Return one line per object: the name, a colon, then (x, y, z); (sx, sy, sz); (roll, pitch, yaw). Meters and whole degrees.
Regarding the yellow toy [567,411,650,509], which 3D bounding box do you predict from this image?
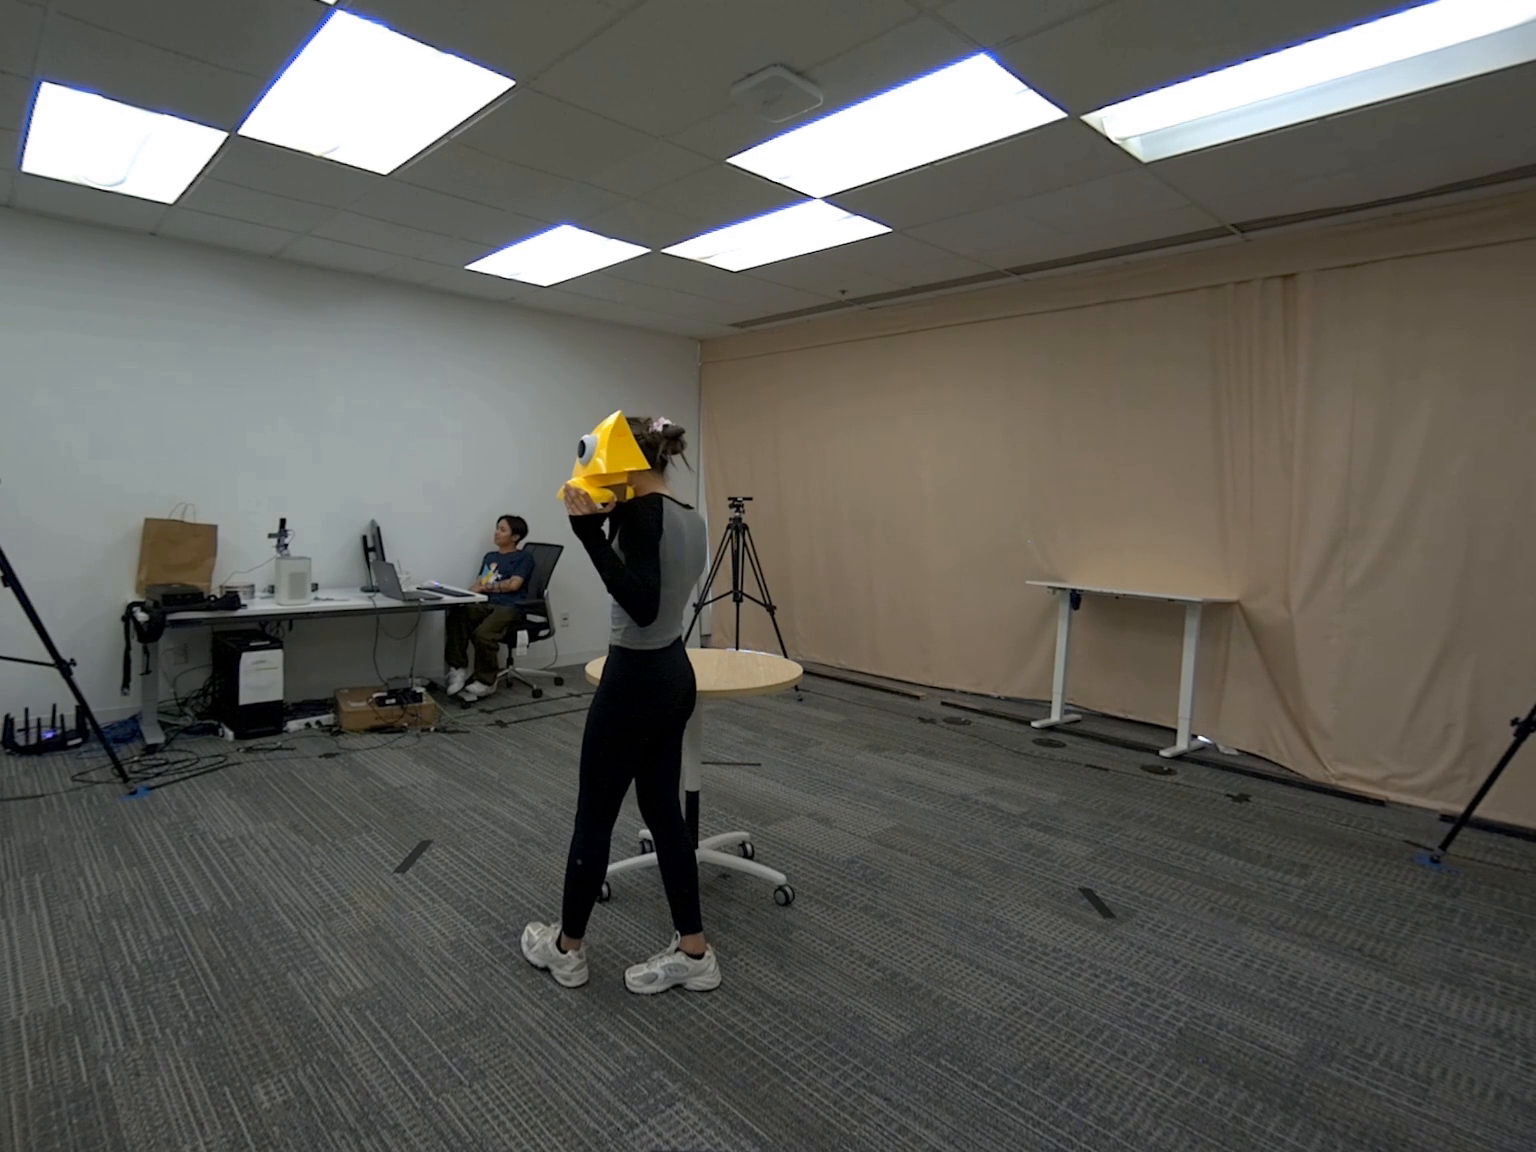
yellow toy: (-0.449, -0.319, 2.182); (0.197, 0.229, 0.202); (9, 12, 25)
